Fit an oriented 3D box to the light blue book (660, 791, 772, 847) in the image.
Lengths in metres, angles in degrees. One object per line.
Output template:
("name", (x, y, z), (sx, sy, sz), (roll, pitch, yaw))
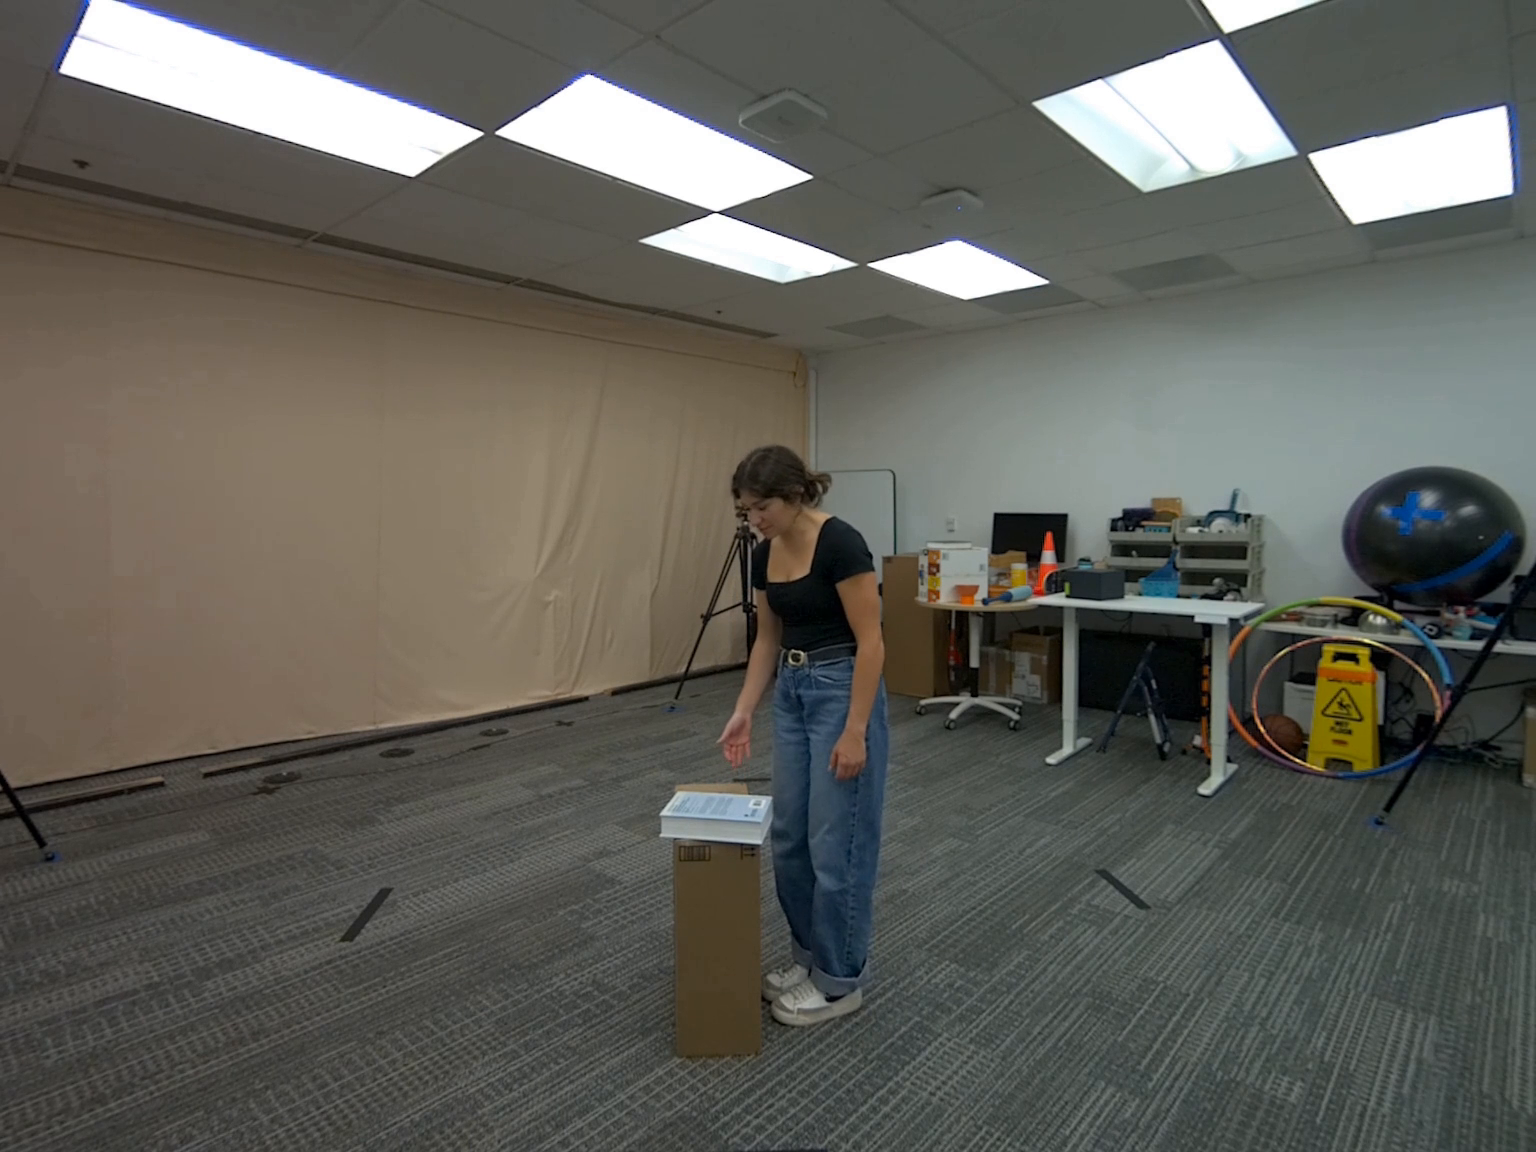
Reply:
("light blue book", (-0.120, 0.622, 2.174), (0.264, 0.059, 0.189), (0, 4, 10))
